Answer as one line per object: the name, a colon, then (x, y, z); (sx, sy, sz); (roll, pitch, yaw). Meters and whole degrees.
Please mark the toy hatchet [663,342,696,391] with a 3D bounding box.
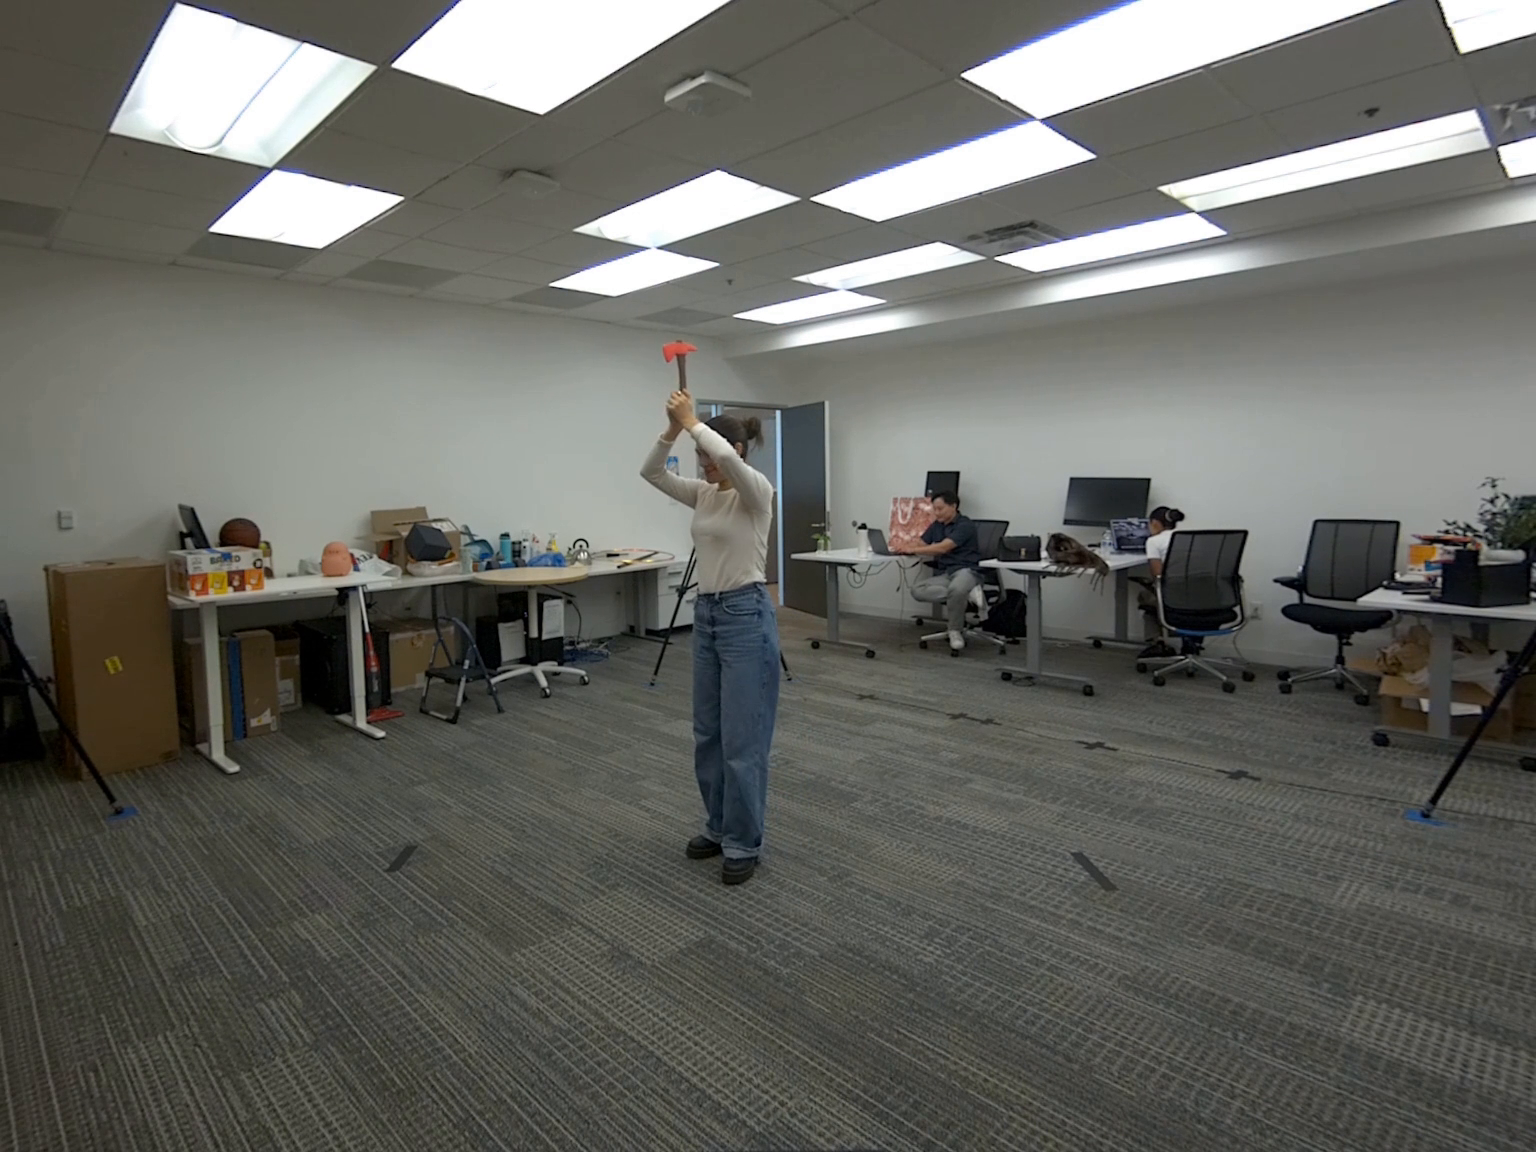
toy hatchet: (-0.321, -0.697, 2.967); (0.127, 0.272, 0.030); (16, -10, -33)
